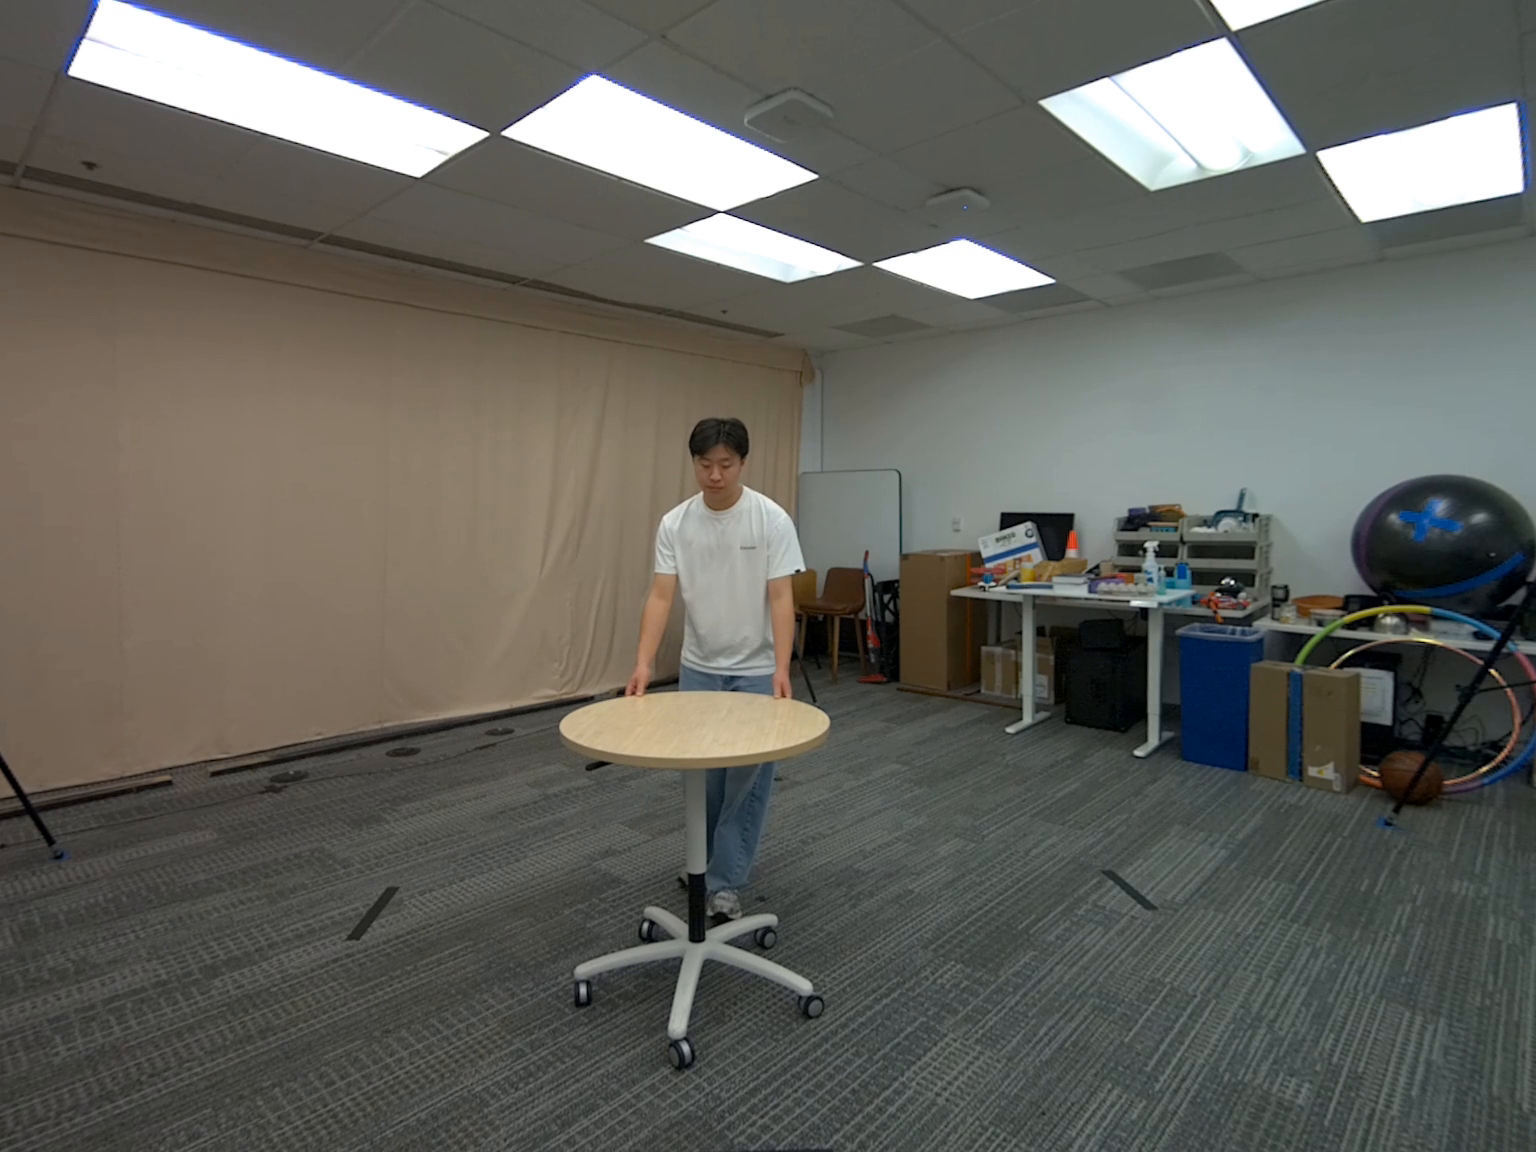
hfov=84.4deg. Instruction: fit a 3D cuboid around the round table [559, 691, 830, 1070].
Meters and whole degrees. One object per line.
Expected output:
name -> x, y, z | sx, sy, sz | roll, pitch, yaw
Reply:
round table -> -0.202, 0.802, 2.423 | 0.763, 0.792, 0.766 | -1, 3, -2
